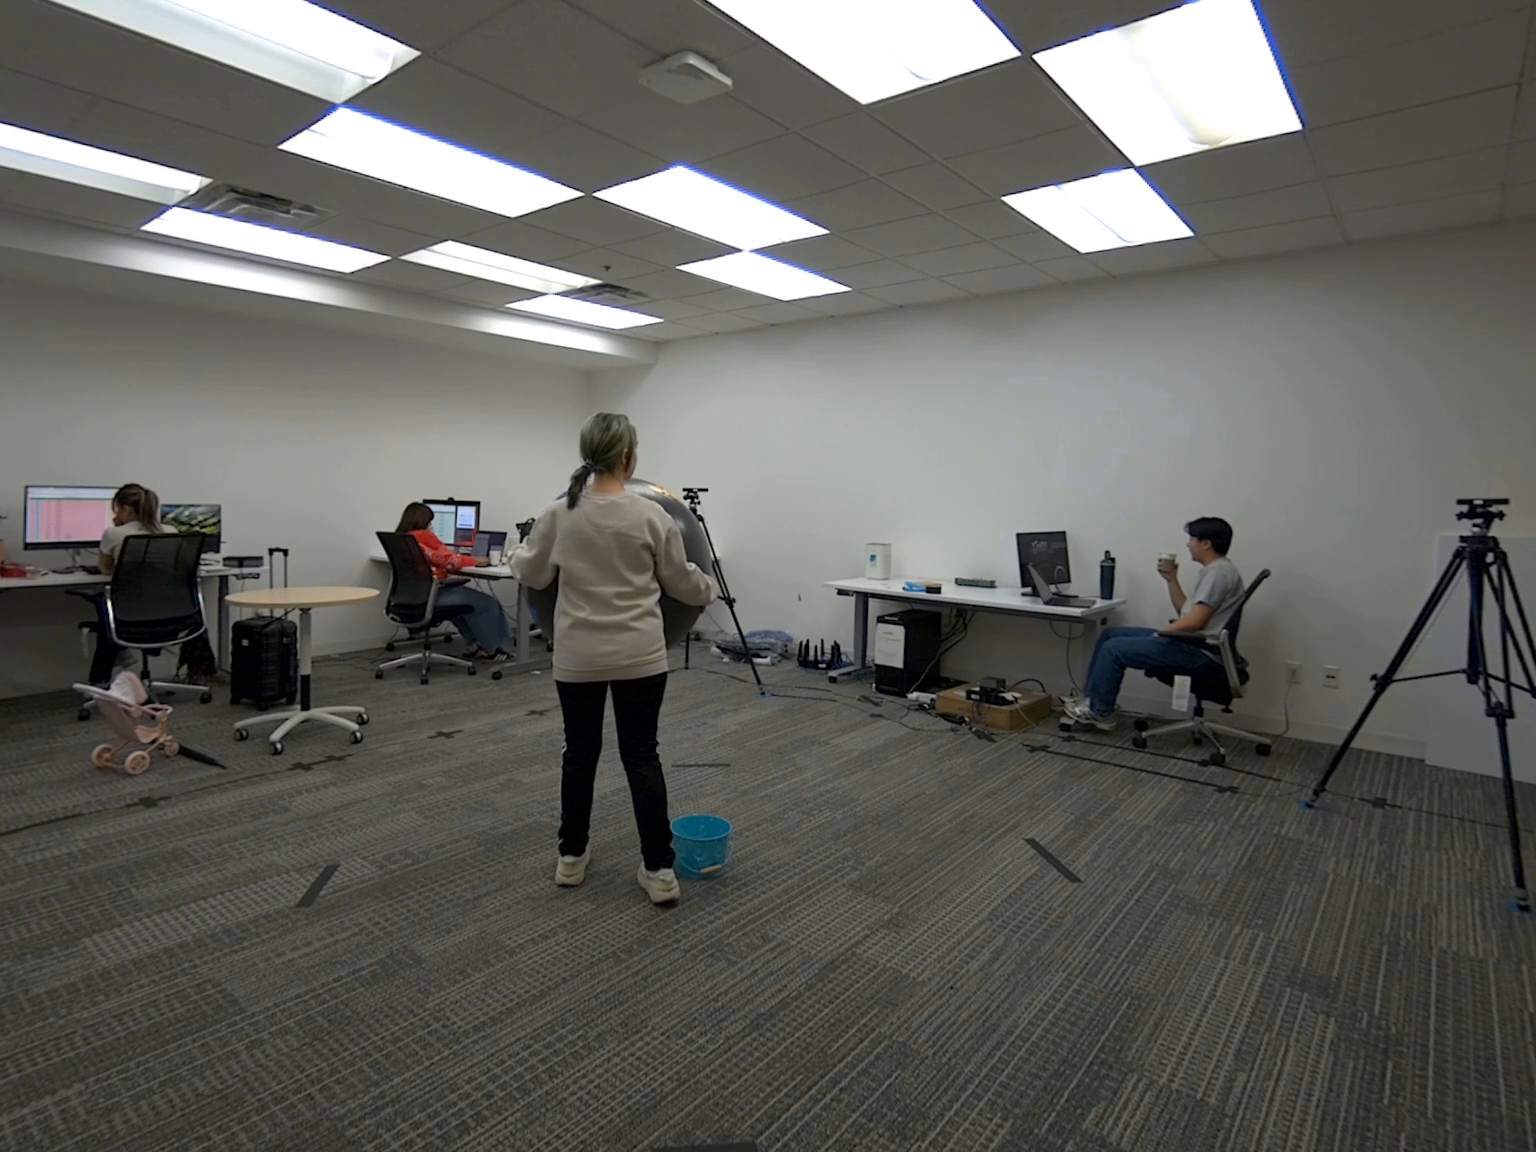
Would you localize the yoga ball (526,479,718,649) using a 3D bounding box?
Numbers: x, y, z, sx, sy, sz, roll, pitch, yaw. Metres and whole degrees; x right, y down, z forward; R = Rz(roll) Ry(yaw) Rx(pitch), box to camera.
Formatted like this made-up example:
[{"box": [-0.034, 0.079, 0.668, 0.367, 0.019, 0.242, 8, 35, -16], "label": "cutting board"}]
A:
[{"box": [-0.612, -0.013, 3.420, 0.757, 0.756, 0.762, 1, 4, -2], "label": "yoga ball"}]
